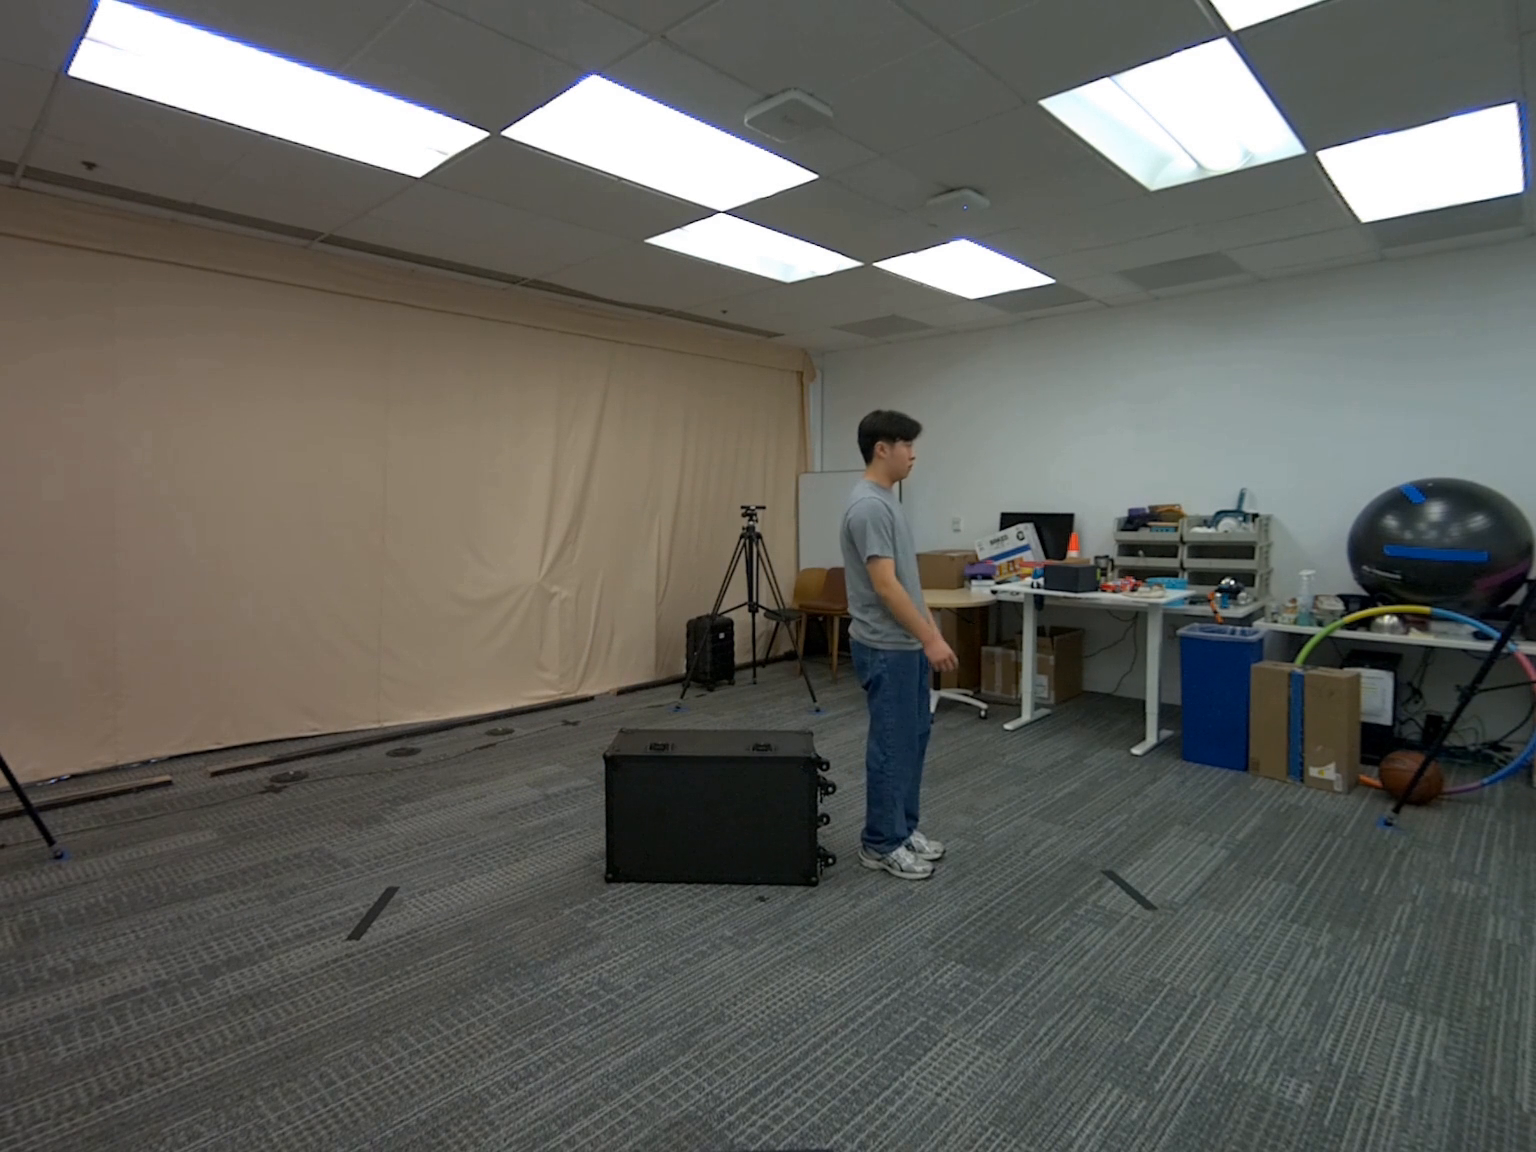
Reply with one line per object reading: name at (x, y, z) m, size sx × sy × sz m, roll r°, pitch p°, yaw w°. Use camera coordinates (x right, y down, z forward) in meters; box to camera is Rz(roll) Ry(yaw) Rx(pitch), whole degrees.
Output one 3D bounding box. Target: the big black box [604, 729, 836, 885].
big black box at (-0.180, 0.876, 3.264) m, size 0.864 × 0.520 × 0.396 m, roll 1°, pitch 4°, yaw 3°
